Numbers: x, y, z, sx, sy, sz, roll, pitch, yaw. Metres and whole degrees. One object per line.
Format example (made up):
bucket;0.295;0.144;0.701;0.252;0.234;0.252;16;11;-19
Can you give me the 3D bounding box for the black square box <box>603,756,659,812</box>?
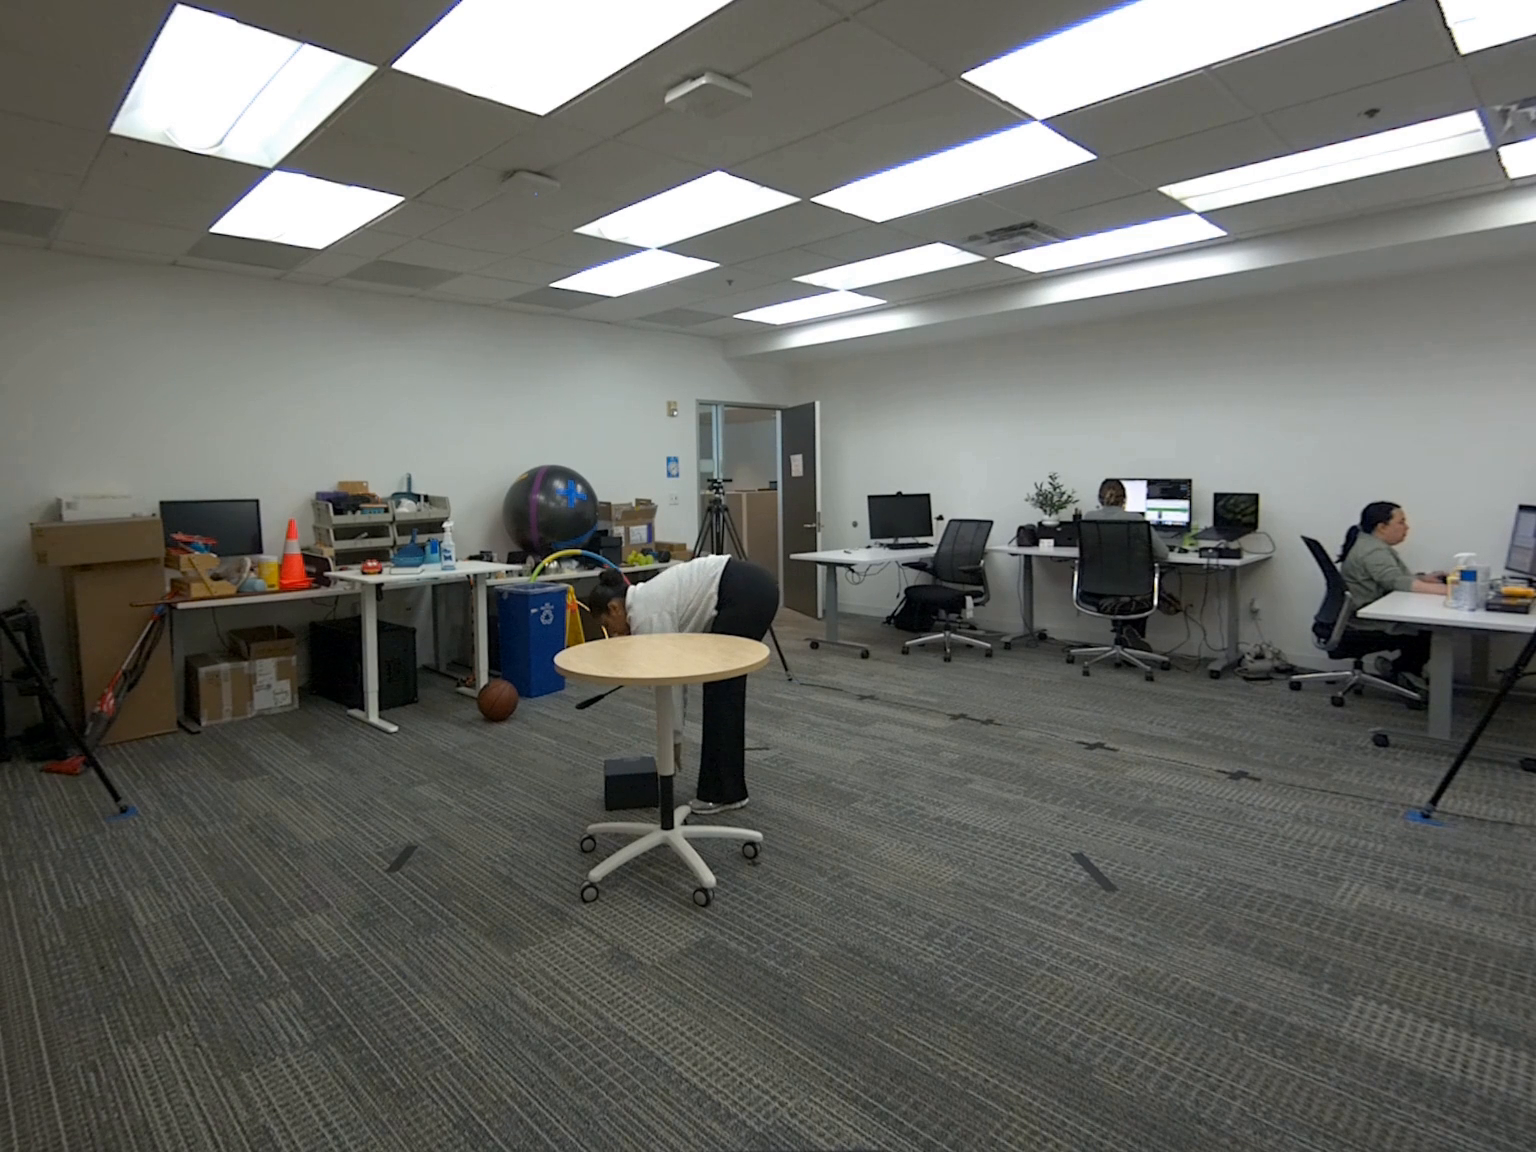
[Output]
black square box;-0.600;0.901;3.751;0.226;0.155;0.220;-3;5;-10
